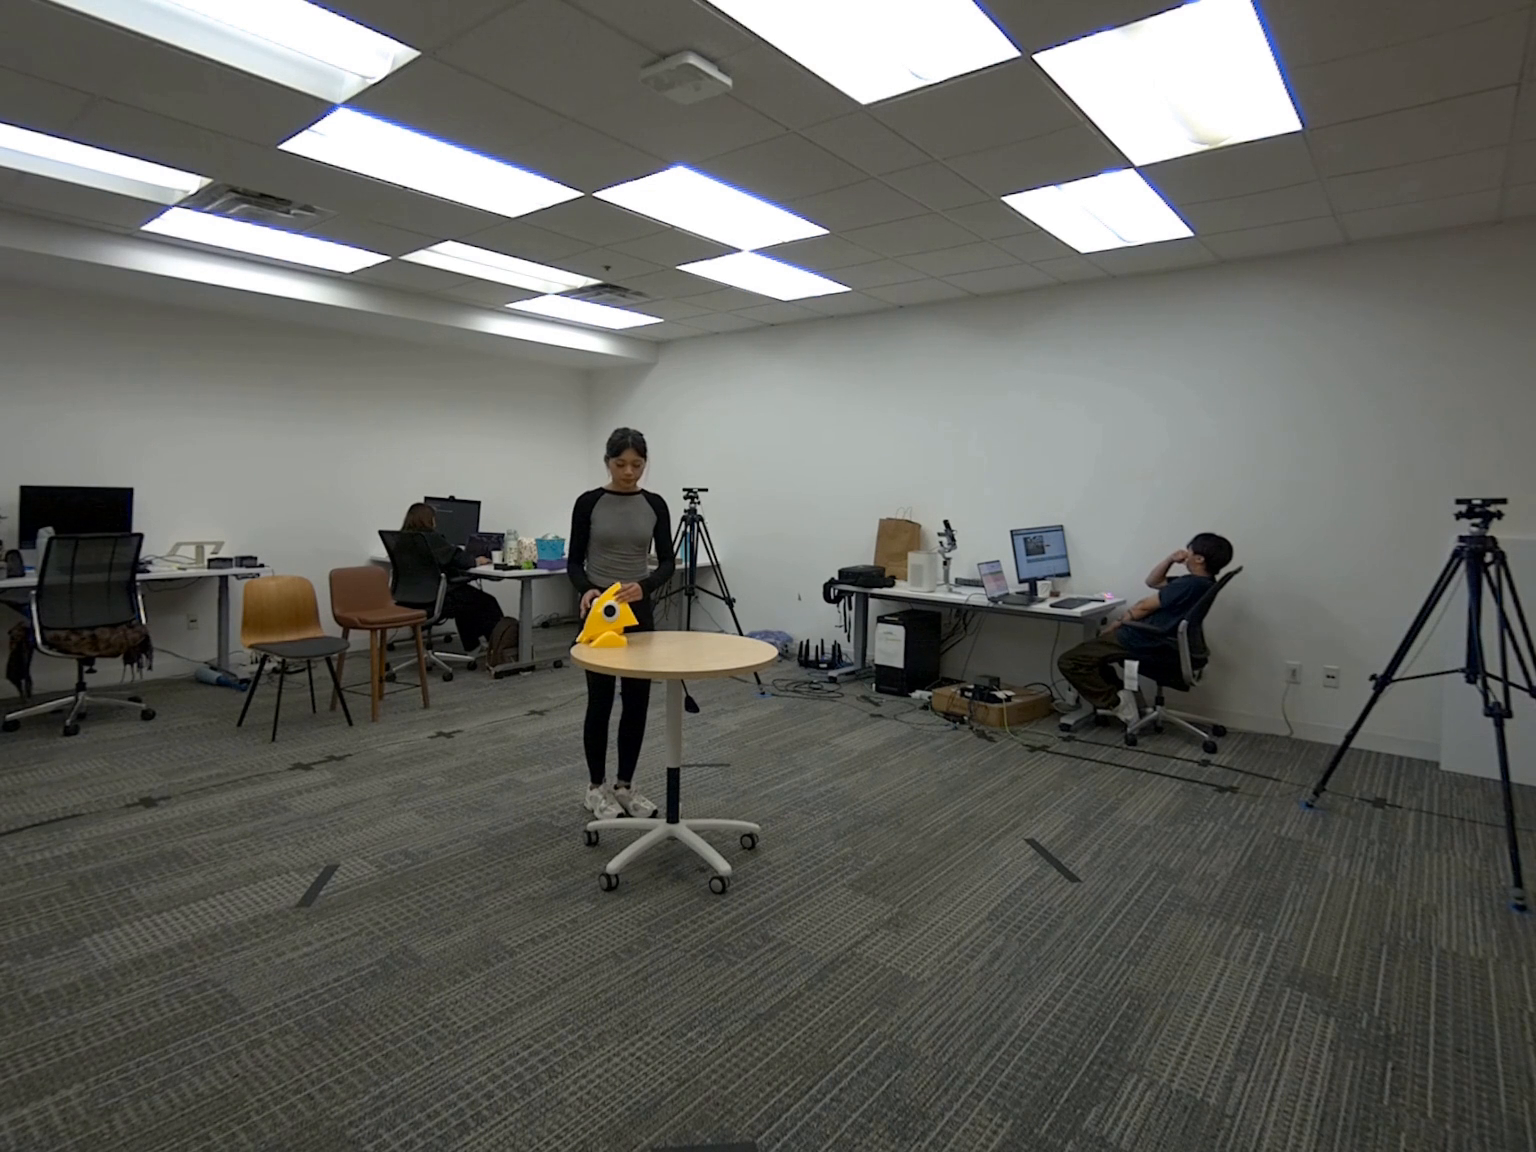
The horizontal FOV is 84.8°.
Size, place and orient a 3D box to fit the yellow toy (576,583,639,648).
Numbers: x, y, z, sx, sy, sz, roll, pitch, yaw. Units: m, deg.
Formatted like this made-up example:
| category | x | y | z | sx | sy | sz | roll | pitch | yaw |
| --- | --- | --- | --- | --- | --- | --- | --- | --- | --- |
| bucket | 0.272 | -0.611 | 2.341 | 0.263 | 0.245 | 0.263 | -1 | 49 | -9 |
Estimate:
| category | x | y | z | sx | sy | sz | roll | pitch | yaw |
| --- | --- | --- | --- | --- | --- | --- | --- | --- | --- |
| yellow toy | -0.640 | 0.140 | 3.266 | 0.187 | 0.230 | 0.211 | -2 | 5 | -36 |
